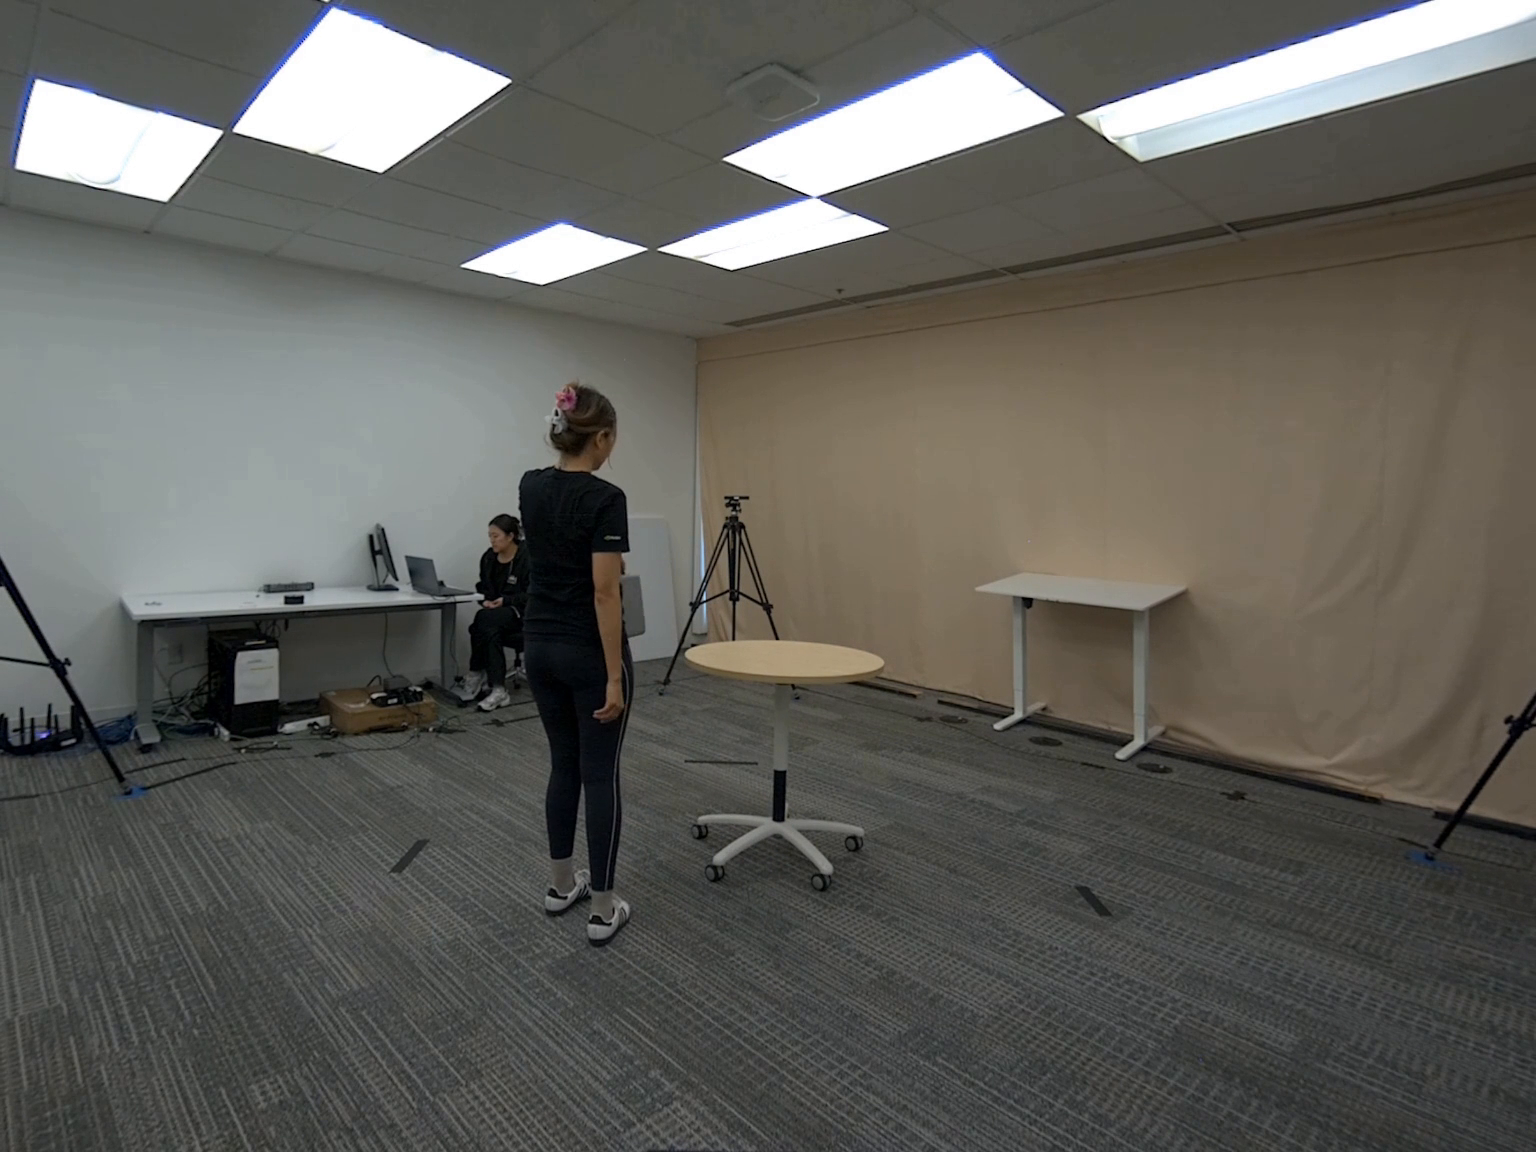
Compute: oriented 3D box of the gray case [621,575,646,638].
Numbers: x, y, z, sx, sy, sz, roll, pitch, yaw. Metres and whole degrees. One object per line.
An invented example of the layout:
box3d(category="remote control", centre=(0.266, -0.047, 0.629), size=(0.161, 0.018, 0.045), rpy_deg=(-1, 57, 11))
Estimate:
box3d(category="gray case", centre=(-0.604, 0.125, 3.296), size=(0.106, 0.260, 0.252), rpy_deg=(-3, 4, 31))
